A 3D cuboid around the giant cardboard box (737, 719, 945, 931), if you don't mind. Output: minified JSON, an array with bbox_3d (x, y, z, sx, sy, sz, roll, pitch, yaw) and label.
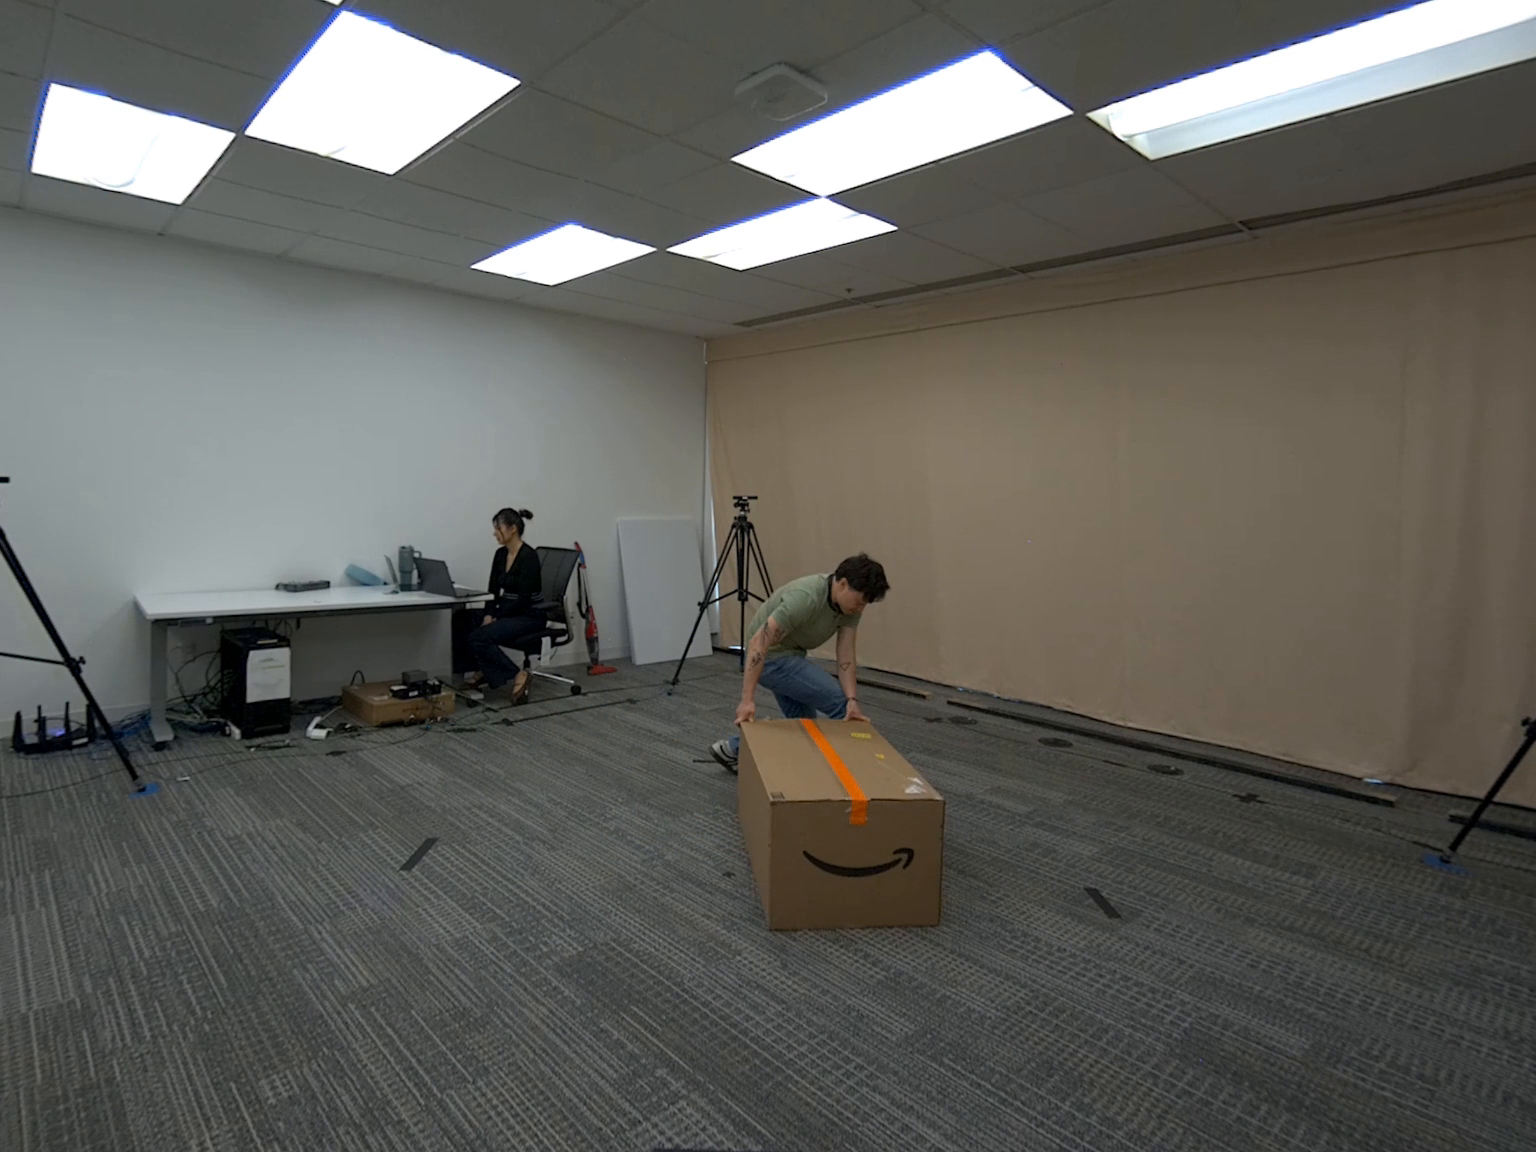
[{"bbox_3d":[0.209,0.889,3.222,0.574,0.425,1.034,2,4,-7],"label":"giant cardboard box"}]
